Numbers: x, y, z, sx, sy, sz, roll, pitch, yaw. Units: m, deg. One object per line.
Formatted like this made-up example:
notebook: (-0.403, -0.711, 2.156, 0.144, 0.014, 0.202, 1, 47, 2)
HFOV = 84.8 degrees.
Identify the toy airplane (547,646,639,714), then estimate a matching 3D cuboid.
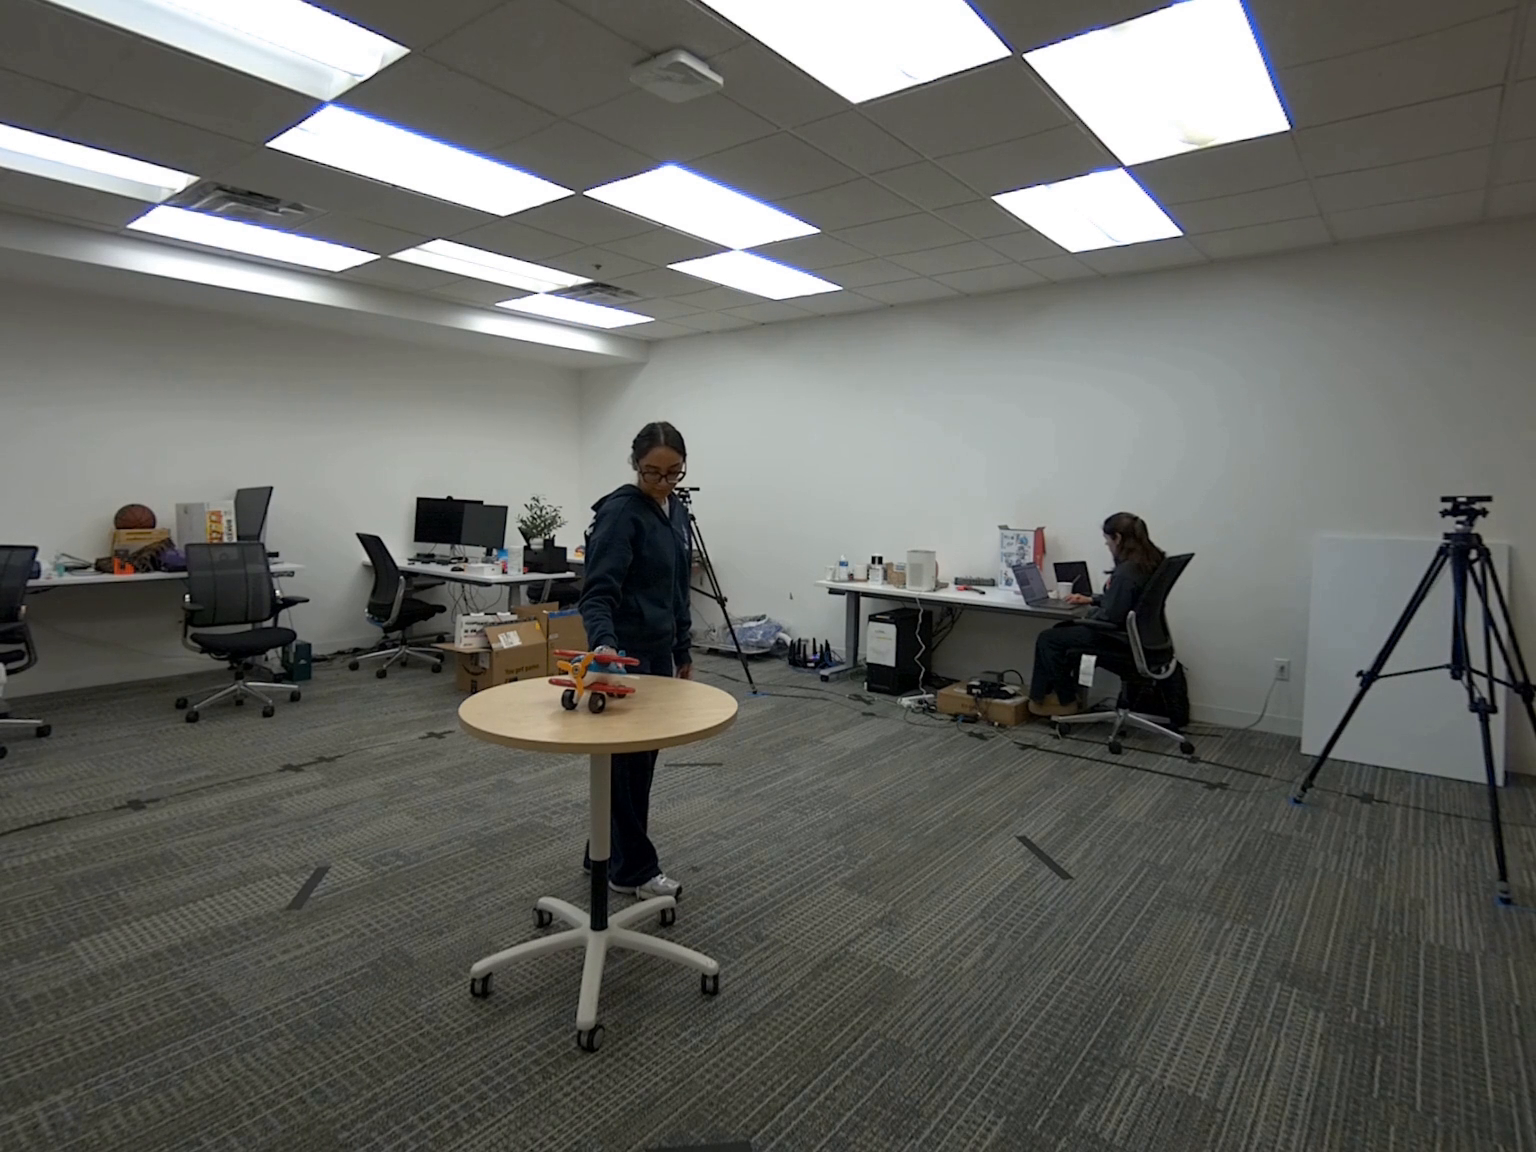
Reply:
toy airplane: (-0.500, 0.274, 2.373, 0.249, 0.156, 0.262, 0, 6, -7)
